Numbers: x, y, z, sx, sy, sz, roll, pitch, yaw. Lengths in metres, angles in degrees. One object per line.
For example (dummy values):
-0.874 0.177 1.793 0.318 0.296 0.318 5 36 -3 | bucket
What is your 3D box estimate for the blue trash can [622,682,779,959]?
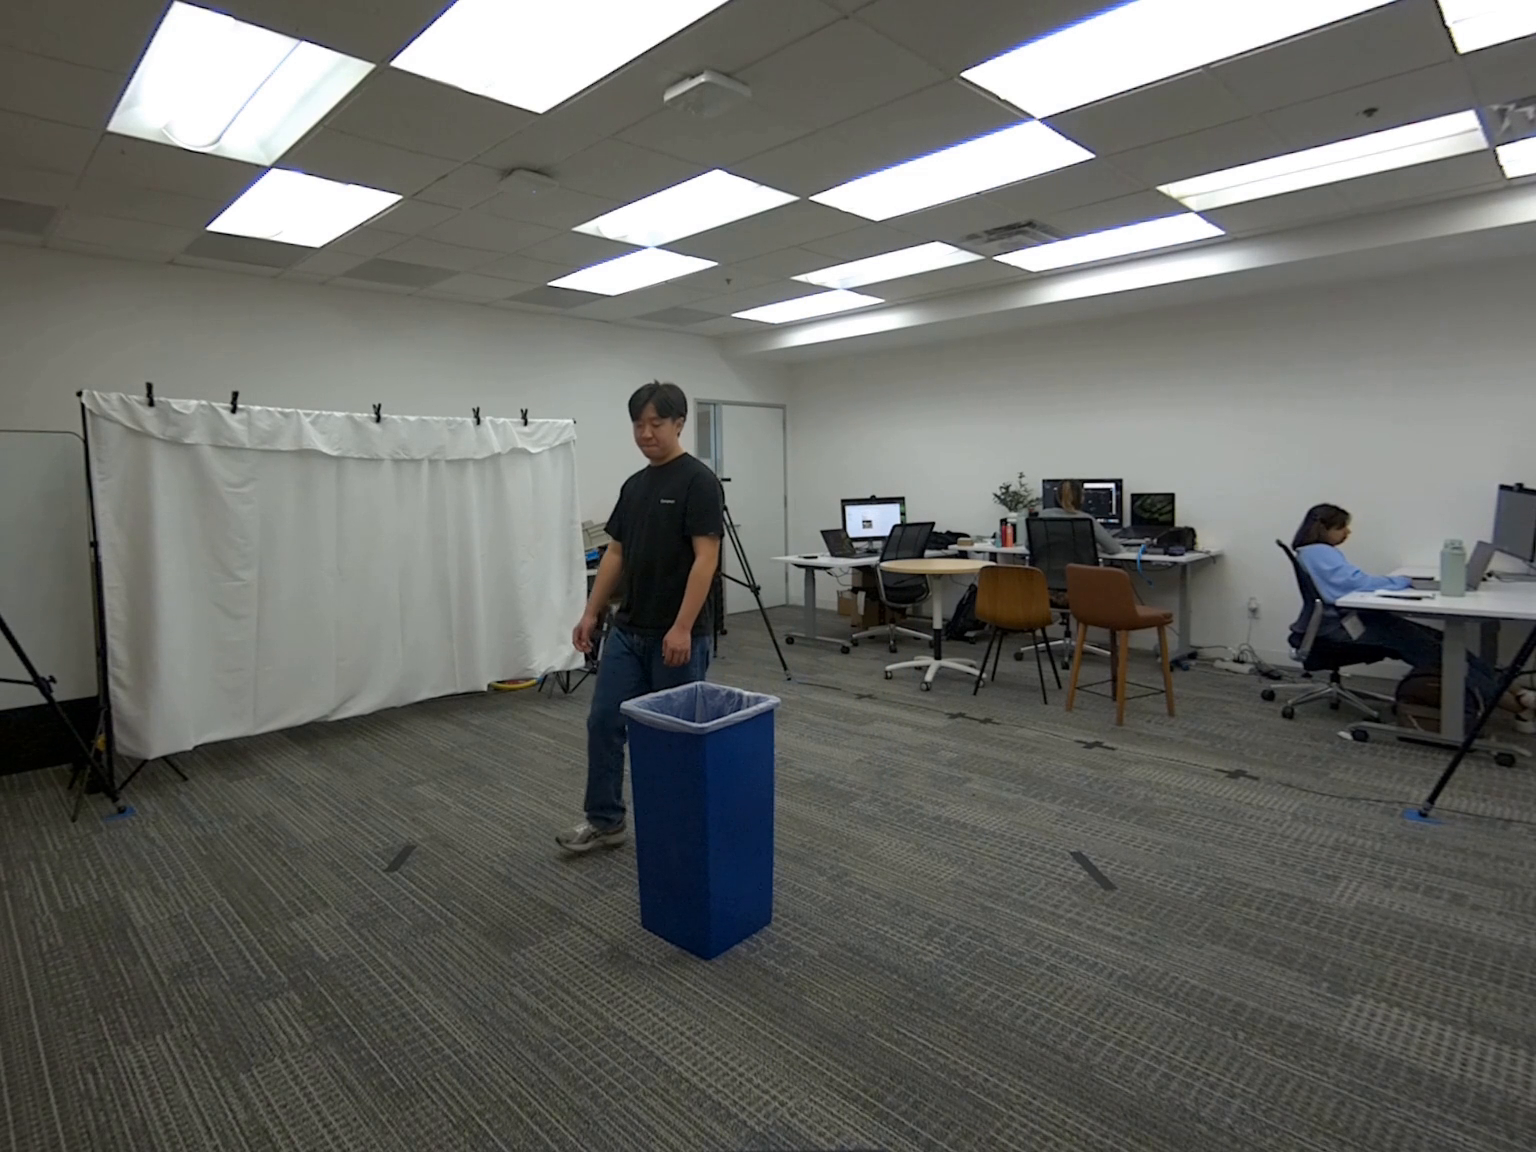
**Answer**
-0.192 0.739 2.652 0.389 0.711 0.364 2 5 41 | blue trash can
